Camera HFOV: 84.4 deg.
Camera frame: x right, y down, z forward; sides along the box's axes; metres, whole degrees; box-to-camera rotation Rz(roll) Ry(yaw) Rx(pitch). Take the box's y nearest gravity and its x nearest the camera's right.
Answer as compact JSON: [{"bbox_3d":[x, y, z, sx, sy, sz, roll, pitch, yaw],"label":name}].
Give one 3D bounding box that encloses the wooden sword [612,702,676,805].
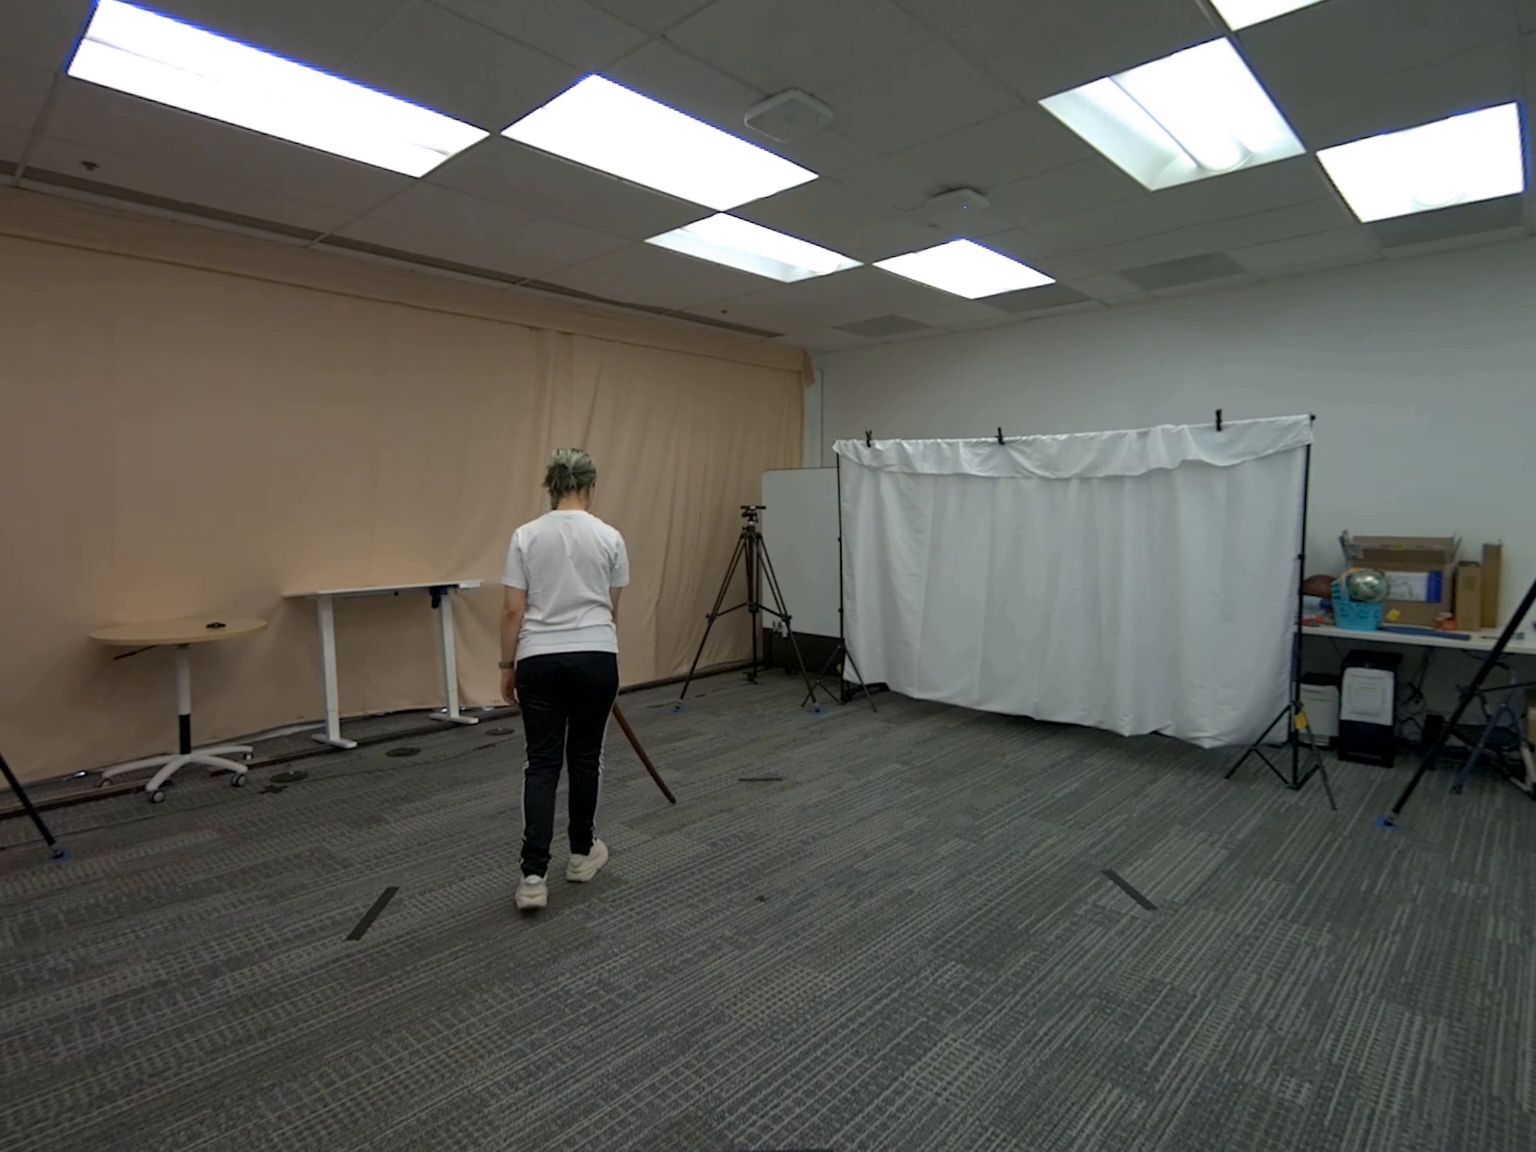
[{"bbox_3d":[-0.583,0.722,3.642,0.053,0.995,0.024,9,49,31],"label":"wooden sword"}]
